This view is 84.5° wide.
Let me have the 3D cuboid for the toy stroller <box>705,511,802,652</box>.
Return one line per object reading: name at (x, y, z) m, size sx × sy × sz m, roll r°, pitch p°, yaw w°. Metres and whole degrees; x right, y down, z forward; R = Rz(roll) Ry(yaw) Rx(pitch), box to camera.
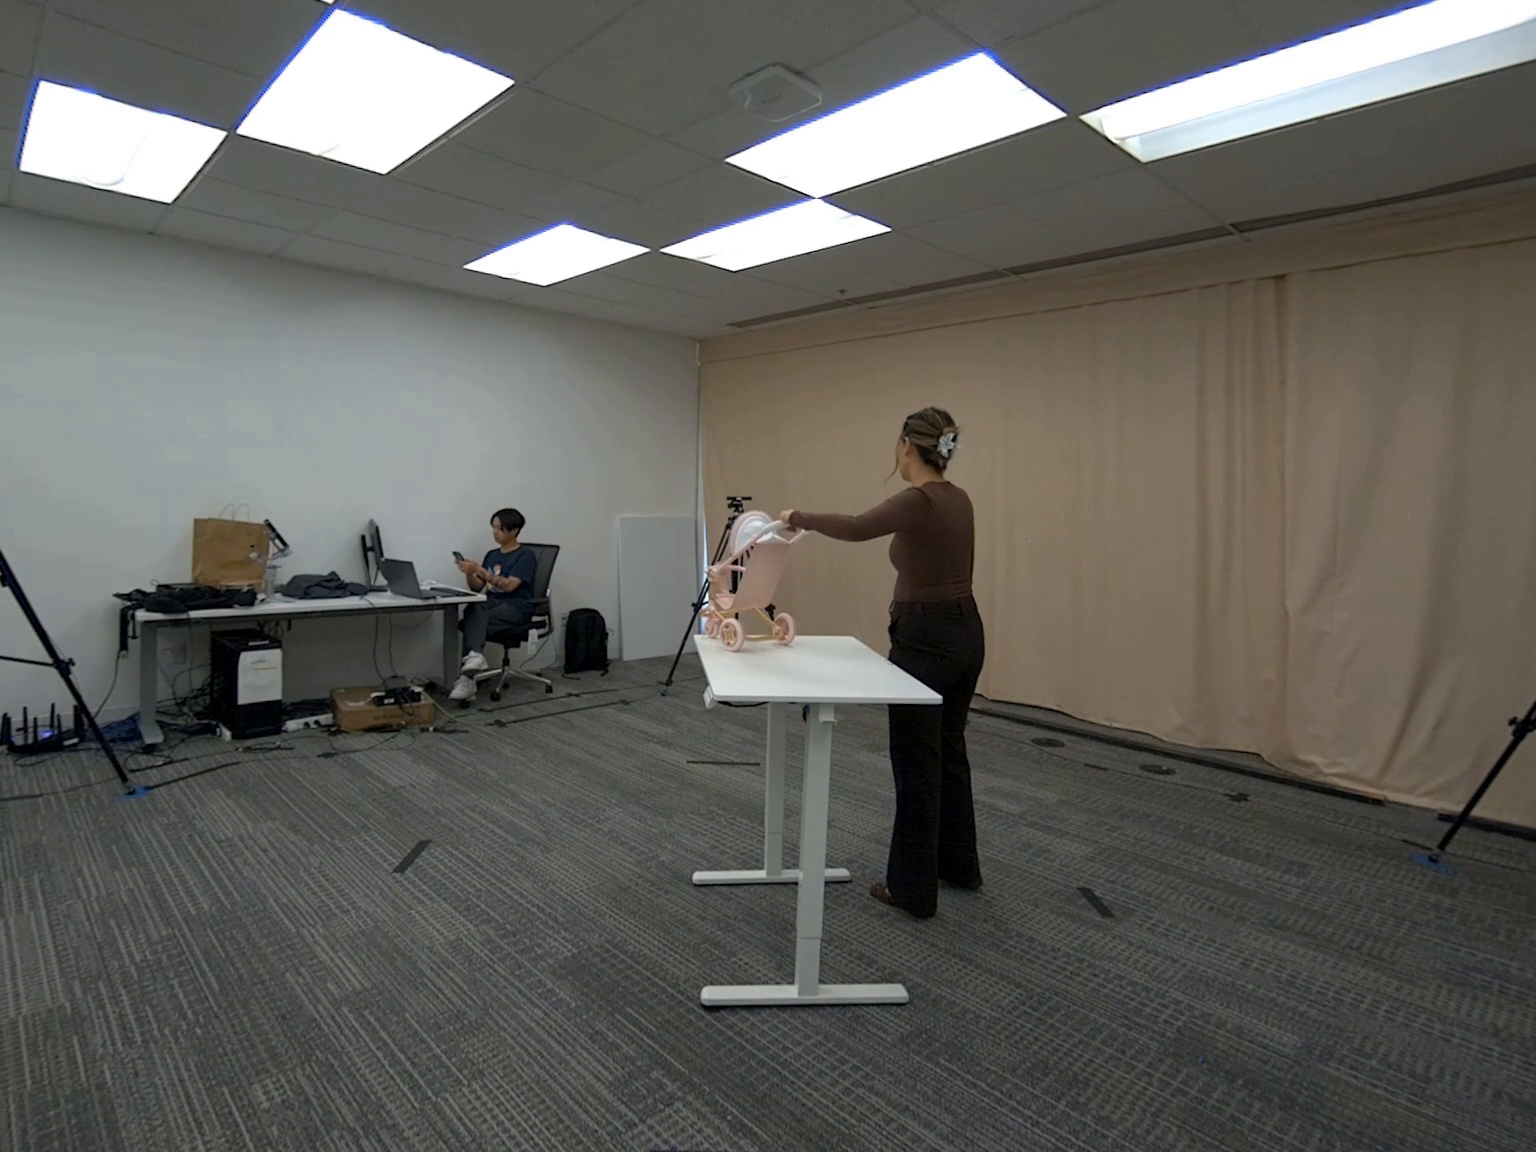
toy stroller at (-0.070, 0.014, 2.918) m, size 0.275 × 0.531 × 0.352 m, roll 0°, pitch 18°, yaw -39°
